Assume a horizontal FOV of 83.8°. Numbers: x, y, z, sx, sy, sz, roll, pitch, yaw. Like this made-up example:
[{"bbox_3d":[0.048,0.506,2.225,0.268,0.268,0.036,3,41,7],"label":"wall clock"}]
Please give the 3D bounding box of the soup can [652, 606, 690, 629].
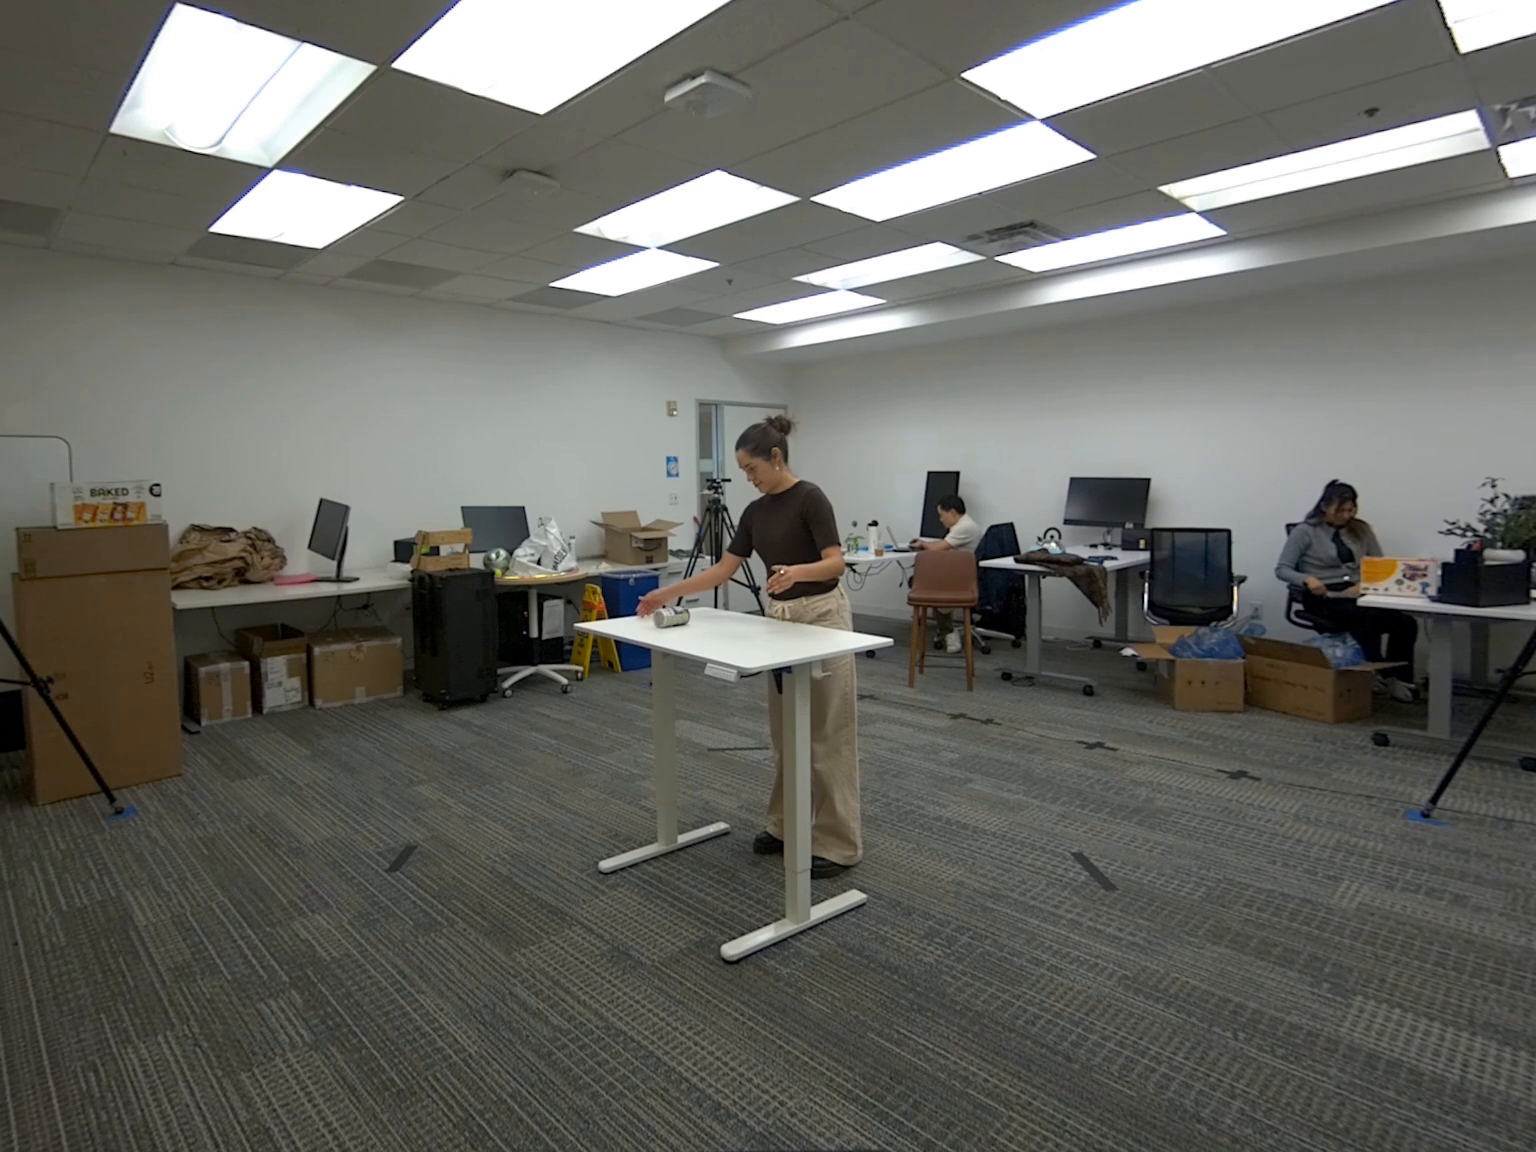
[{"bbox_3d":[-0.345,0.144,3.017,0.118,0.067,0.069,-5,6,-42],"label":"soup can"}]
